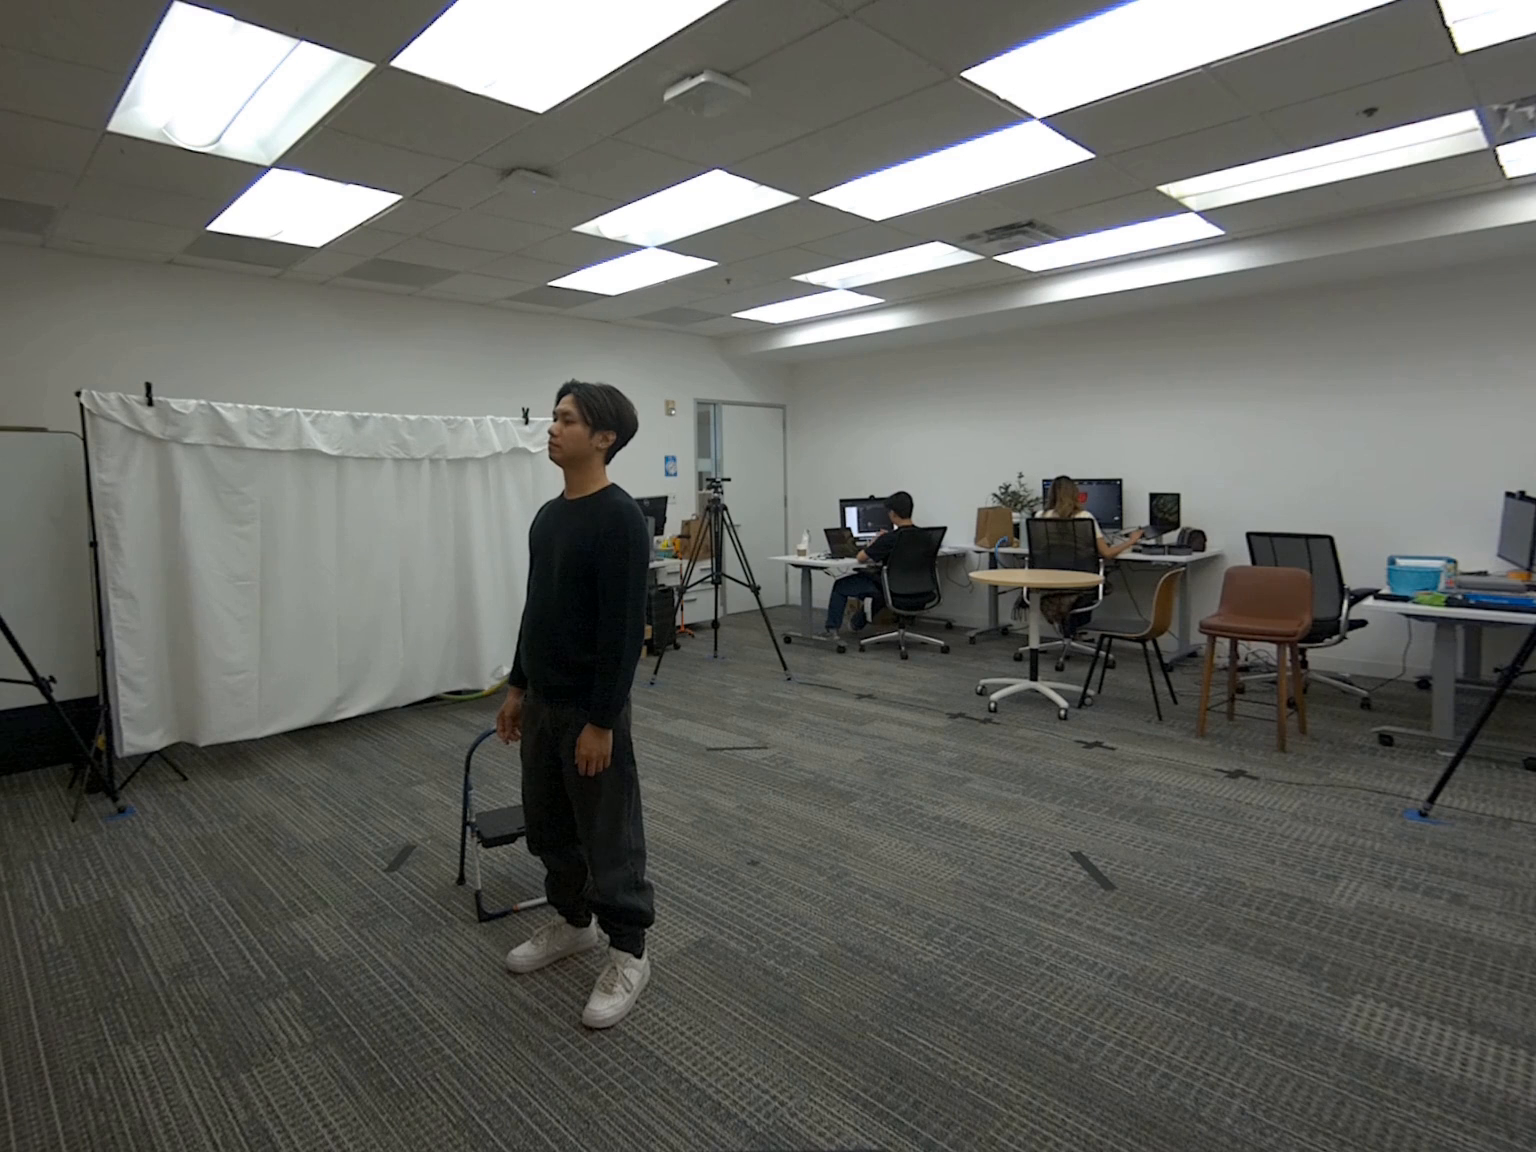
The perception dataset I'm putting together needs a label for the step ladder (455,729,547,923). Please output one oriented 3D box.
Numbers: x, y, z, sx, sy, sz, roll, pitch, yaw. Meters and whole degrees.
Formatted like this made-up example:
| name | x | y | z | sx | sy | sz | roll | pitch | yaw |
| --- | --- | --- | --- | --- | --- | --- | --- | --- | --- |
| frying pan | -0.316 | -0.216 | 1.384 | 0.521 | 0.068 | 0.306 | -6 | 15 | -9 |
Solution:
| name | x | y | z | sx | sy | sz | roll | pitch | yaw |
| --- | --- | --- | --- | --- | --- | --- | --- | --- | --- |
| step ladder | -0.833 | 0.772 | 2.938 | 0.421 | 0.603 | 0.359 | -4 | 5 | -30 |
